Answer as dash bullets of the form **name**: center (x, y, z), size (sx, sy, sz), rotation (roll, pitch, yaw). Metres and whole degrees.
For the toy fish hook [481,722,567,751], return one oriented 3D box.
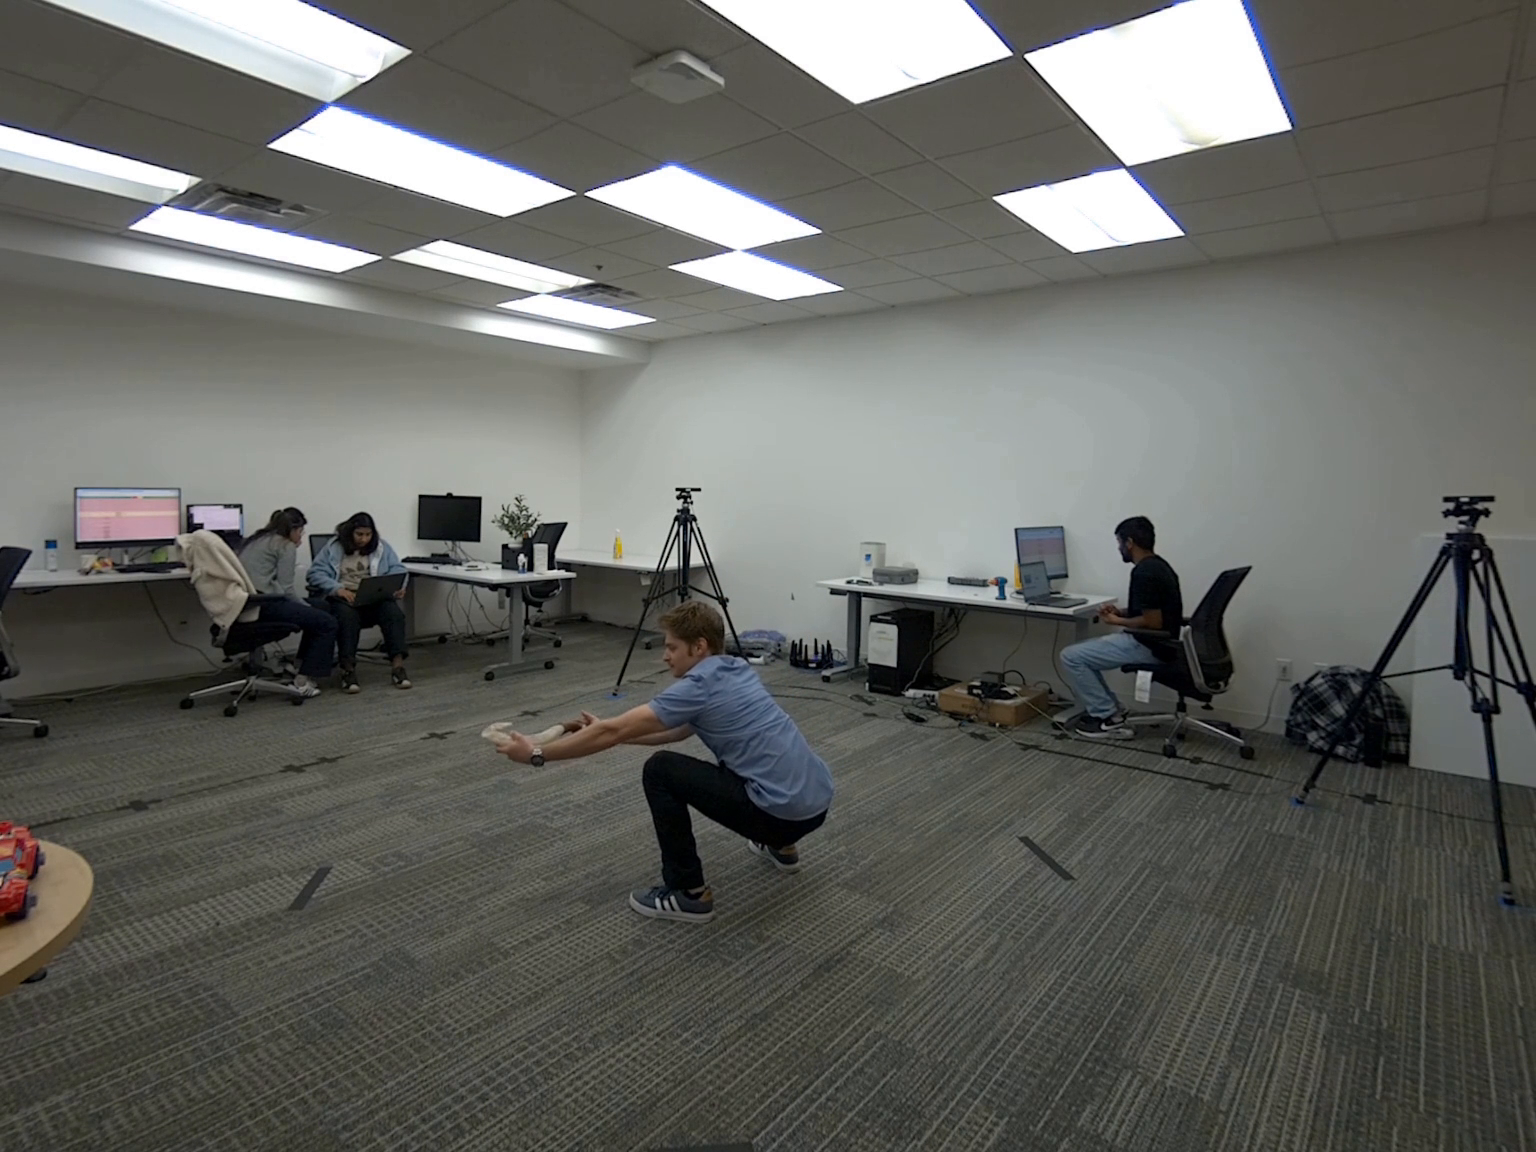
- **toy fish hook**: center (-0.809, 0.537, 3.009), size (0.231, 0.048, 0.493), rotation (13, 3, 22)
